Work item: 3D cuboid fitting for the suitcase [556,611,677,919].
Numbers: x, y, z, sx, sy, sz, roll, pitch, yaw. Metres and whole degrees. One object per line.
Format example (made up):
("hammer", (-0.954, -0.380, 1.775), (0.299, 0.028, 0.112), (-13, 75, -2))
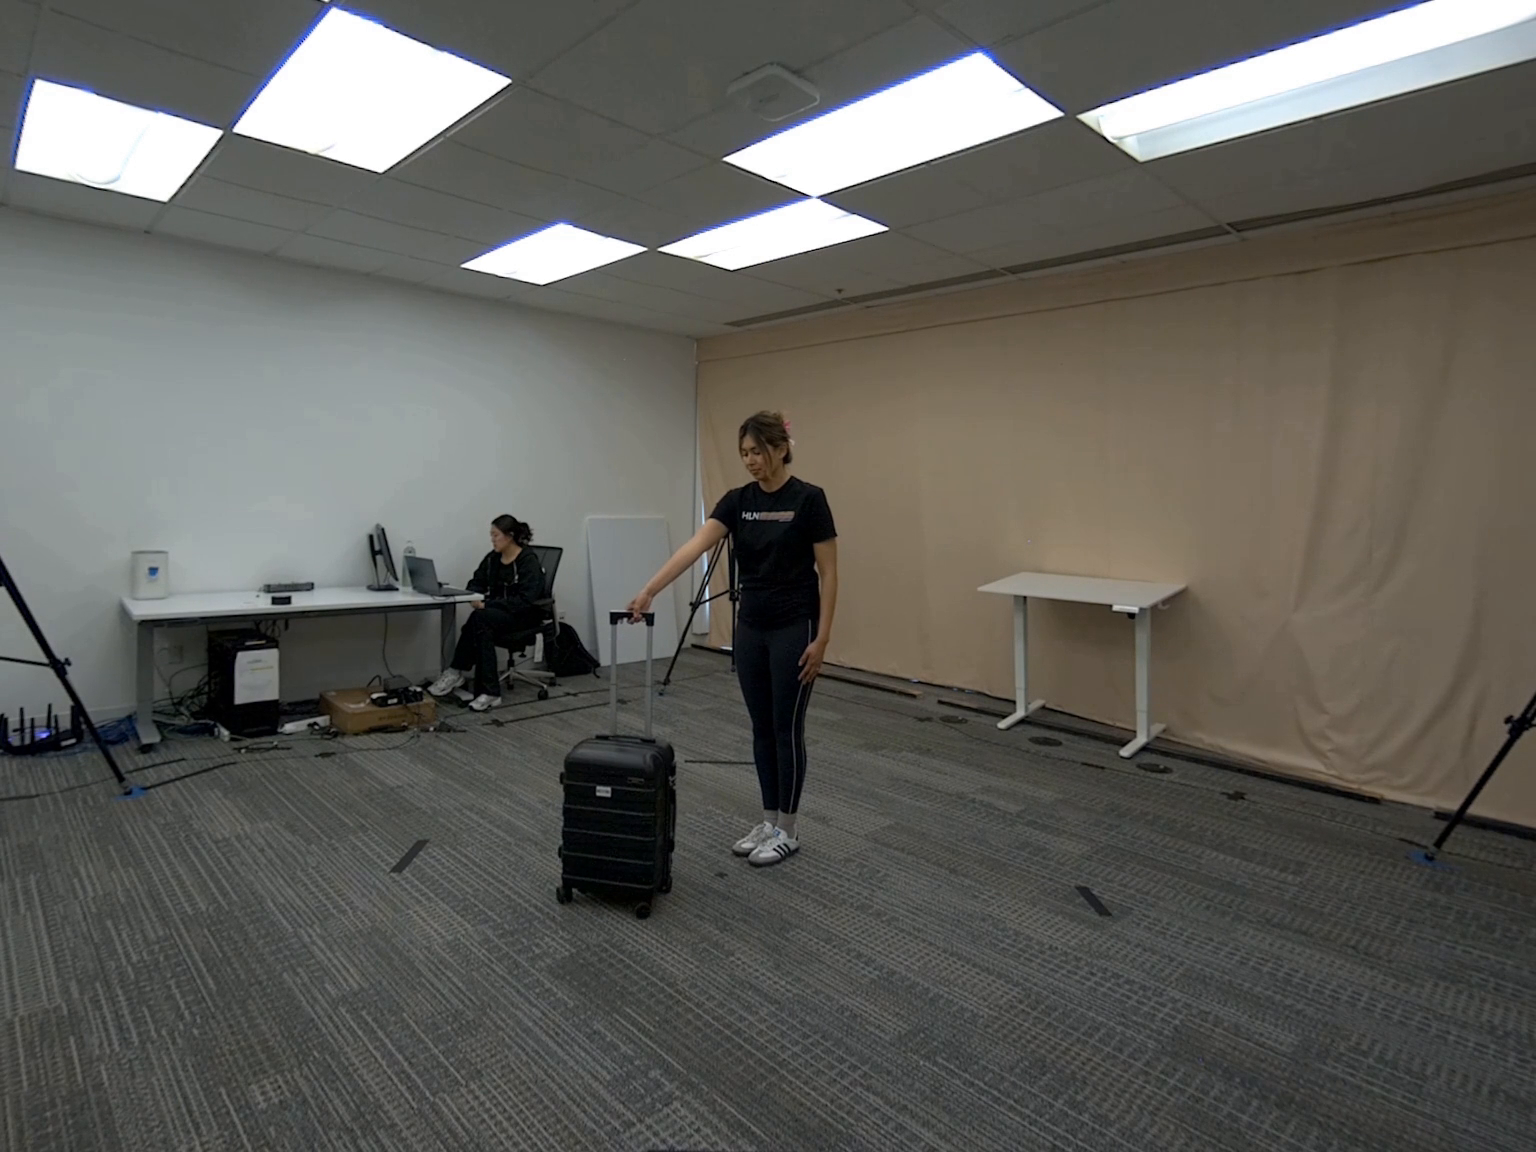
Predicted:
("suitcase", (-0.514, 0.640, 2.894), (0.388, 0.976, 0.255), (2, 4, 12))
